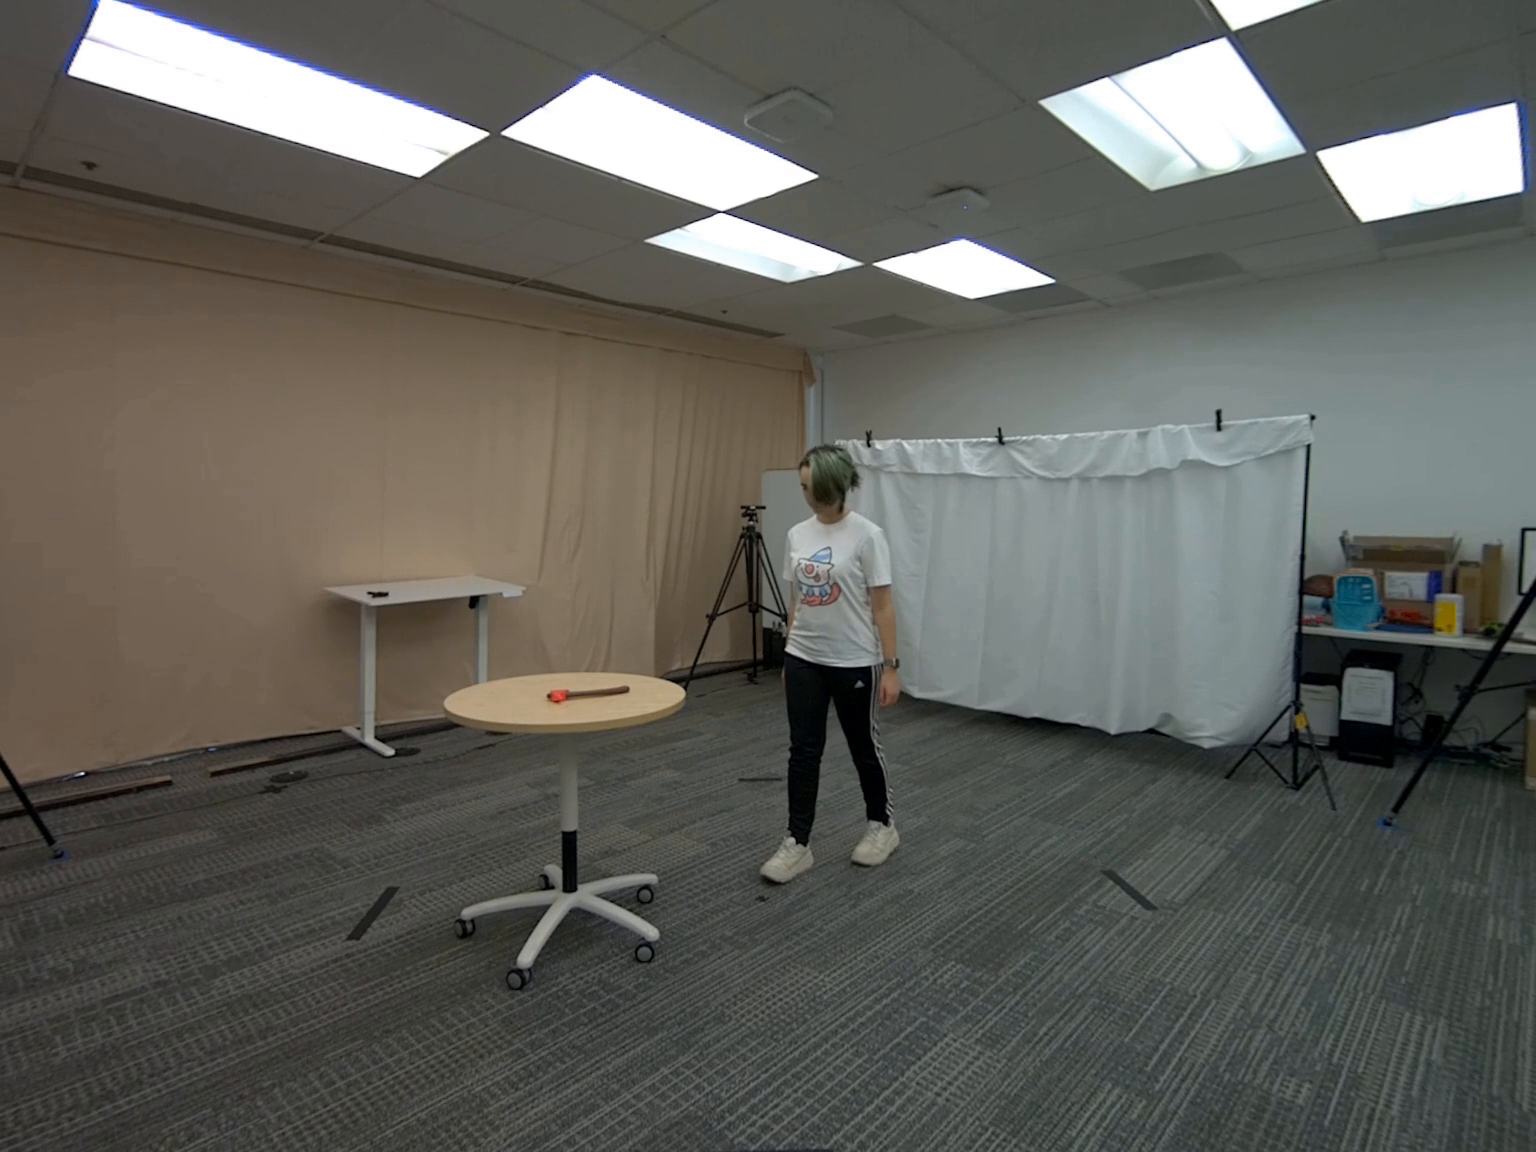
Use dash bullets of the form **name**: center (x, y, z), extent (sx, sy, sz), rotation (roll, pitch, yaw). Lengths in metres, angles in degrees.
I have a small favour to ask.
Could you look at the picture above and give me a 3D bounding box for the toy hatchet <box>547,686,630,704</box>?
- **toy hatchet**: center (-0.579, 0.371, 2.718), extent (0.262, 0.029, 0.135), rotation (-1, -1, -41)
